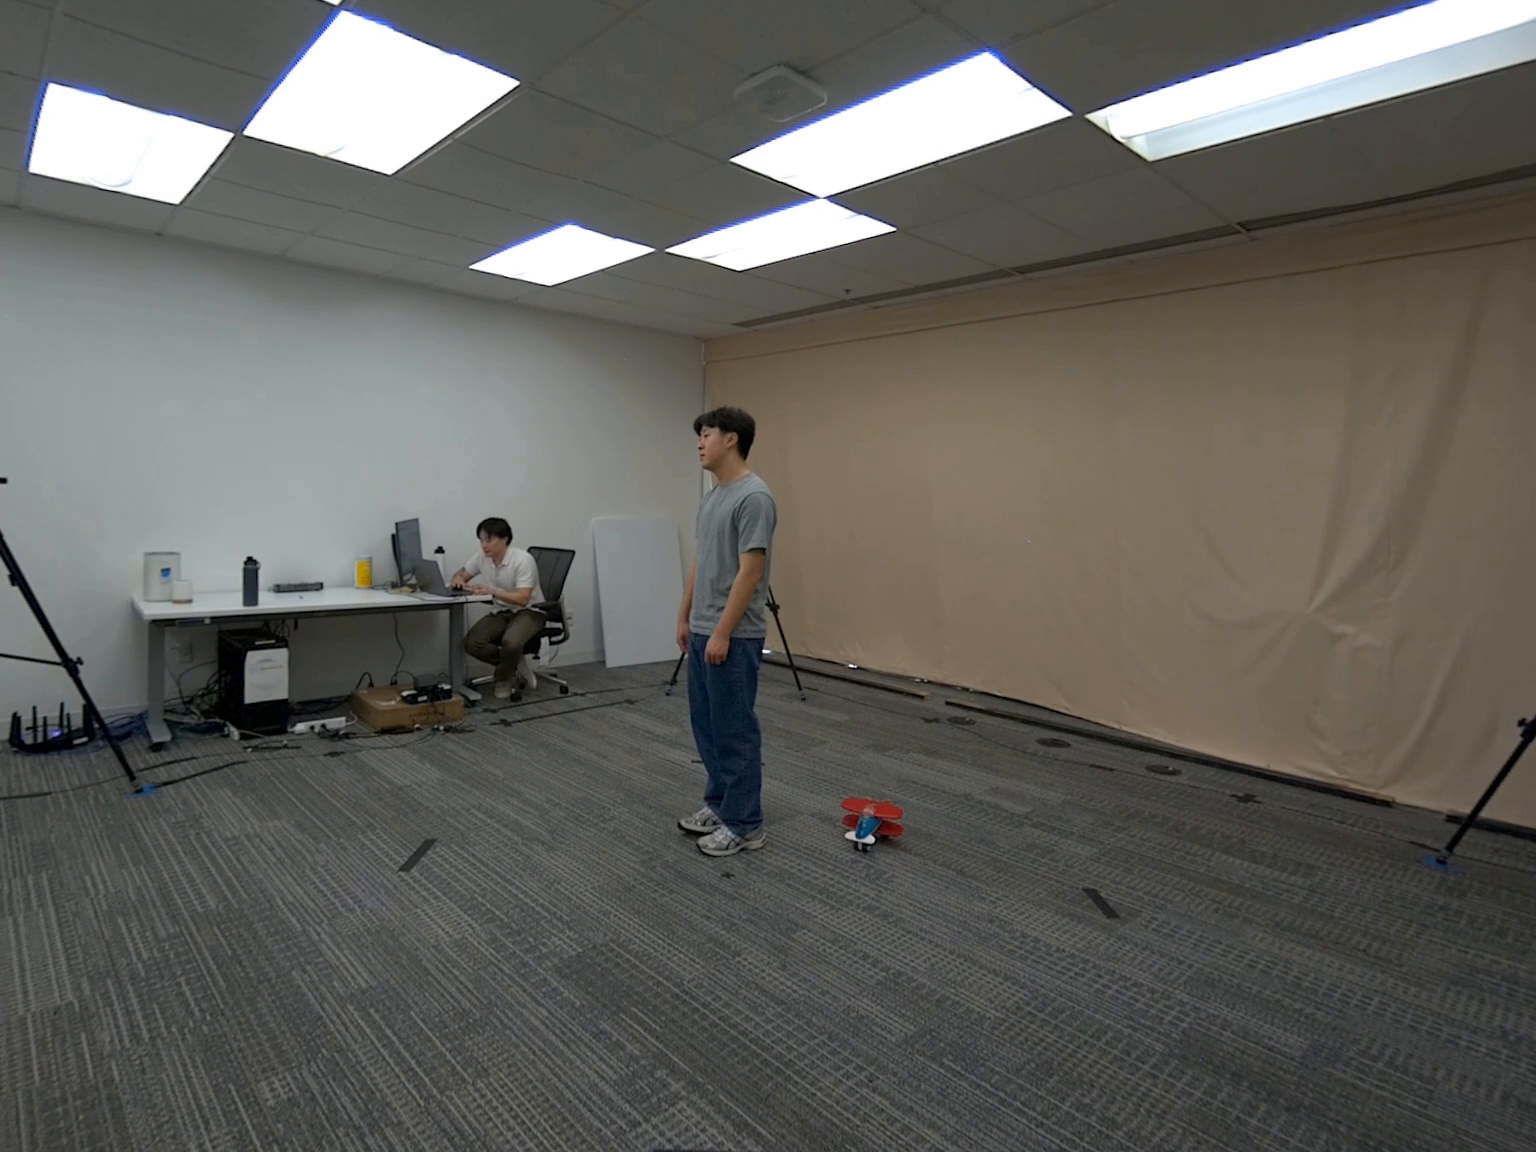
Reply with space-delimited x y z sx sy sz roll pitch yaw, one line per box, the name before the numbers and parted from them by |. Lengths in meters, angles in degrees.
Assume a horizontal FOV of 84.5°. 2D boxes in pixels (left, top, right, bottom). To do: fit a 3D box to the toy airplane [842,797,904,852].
toy airplane | 0.420 1.013 3.418 0.251 0.156 0.260 2 2 -2
